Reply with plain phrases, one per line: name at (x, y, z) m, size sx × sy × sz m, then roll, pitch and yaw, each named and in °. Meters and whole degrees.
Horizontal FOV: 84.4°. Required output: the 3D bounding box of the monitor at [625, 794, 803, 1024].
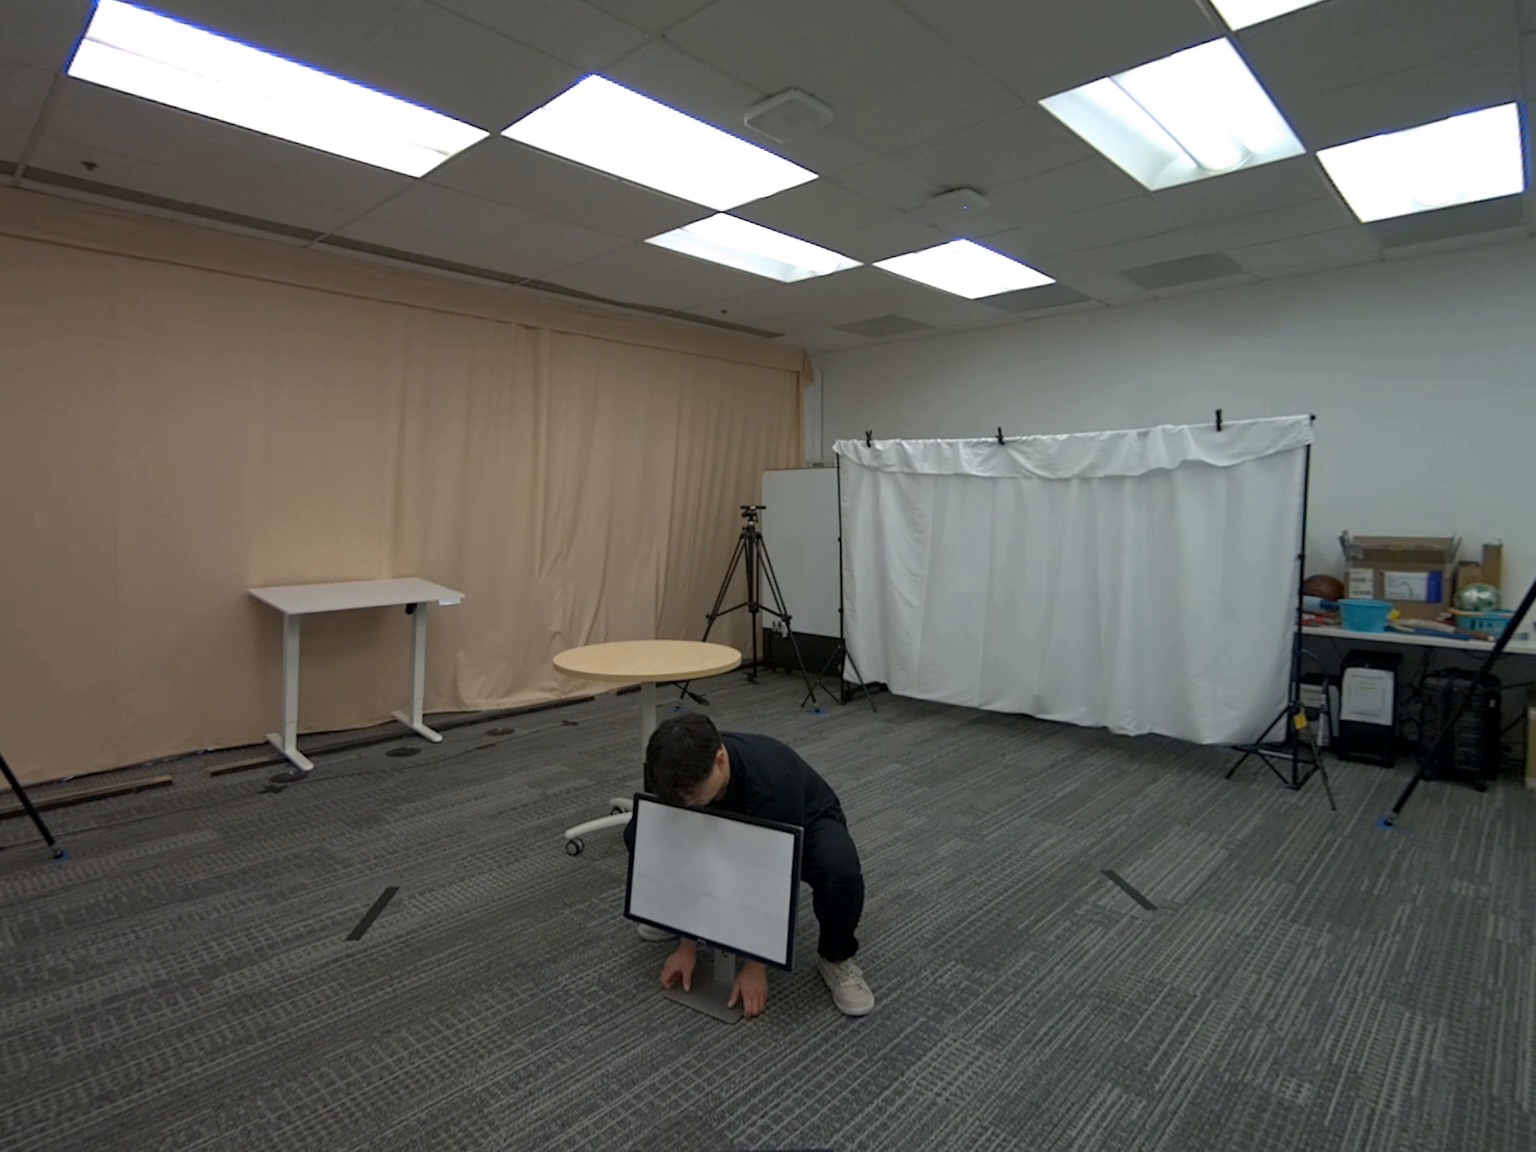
monitor at (-0.152, 0.923, 2.394) m, size 0.555 × 0.521 × 0.182 m, roll 2°, pitch 6°, yaw 31°
